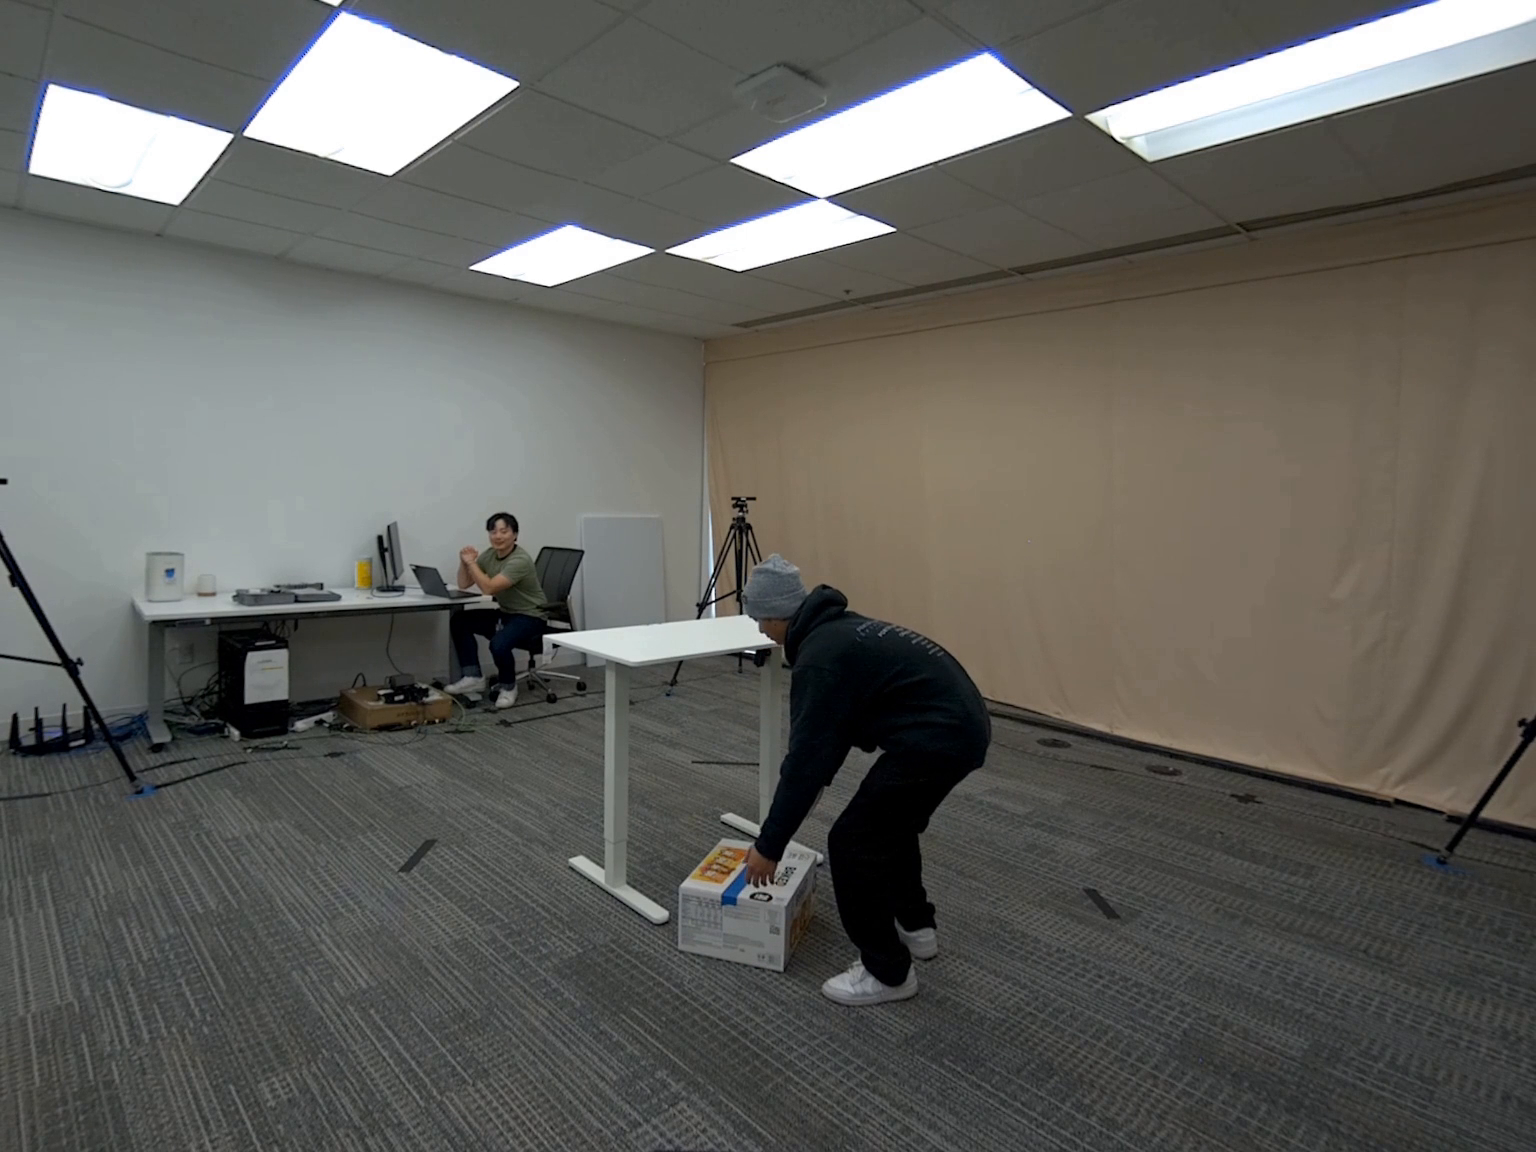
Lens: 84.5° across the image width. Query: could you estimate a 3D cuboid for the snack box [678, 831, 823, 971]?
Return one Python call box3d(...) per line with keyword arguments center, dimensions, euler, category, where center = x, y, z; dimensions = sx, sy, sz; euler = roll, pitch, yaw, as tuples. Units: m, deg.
box3d(center=(-0.061, 1.046, 2.705), dimensions=(0.345, 0.205, 0.400), euler=(2, 5, 18), category="snack box")
